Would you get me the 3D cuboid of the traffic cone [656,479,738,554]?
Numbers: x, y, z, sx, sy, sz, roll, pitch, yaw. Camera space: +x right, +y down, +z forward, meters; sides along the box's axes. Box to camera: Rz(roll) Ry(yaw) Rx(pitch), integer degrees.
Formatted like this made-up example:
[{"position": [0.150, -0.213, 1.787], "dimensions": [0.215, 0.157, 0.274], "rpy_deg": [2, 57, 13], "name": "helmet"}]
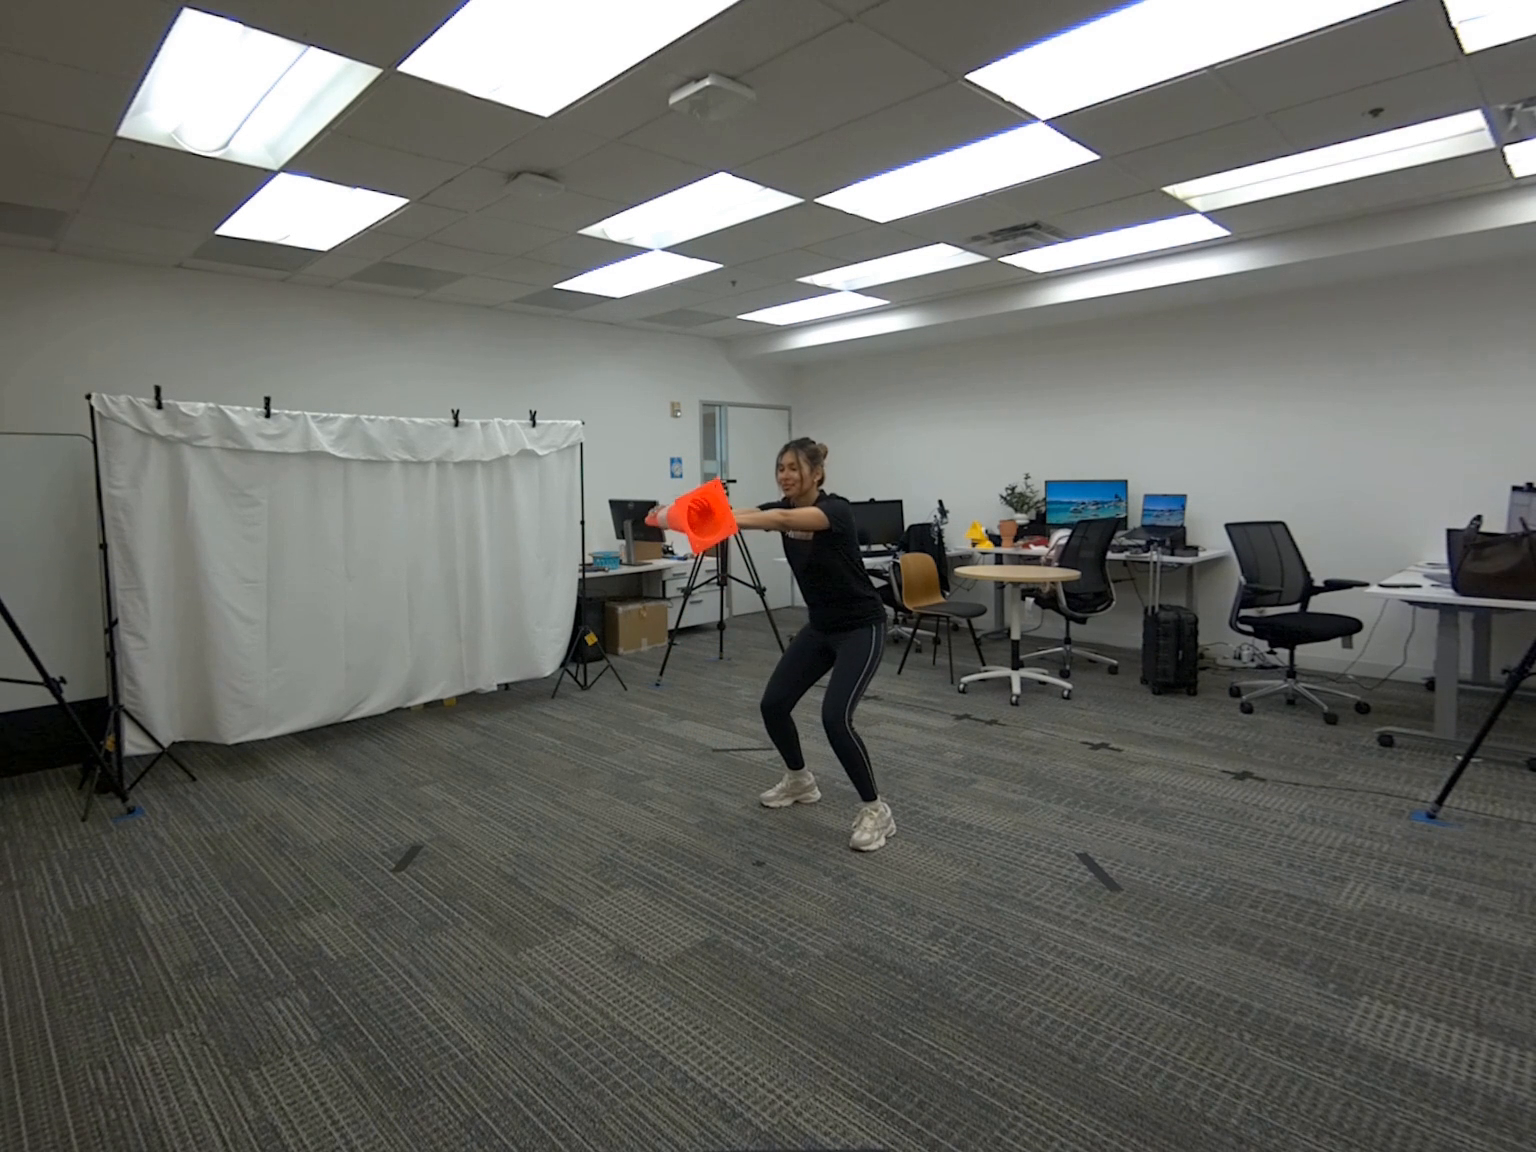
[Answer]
[{"position": [-0.307, -0.194, 2.981], "dimensions": [0.201, 0.202, 0.394], "rpy_deg": [-30, 17, -32], "name": "traffic cone"}]
